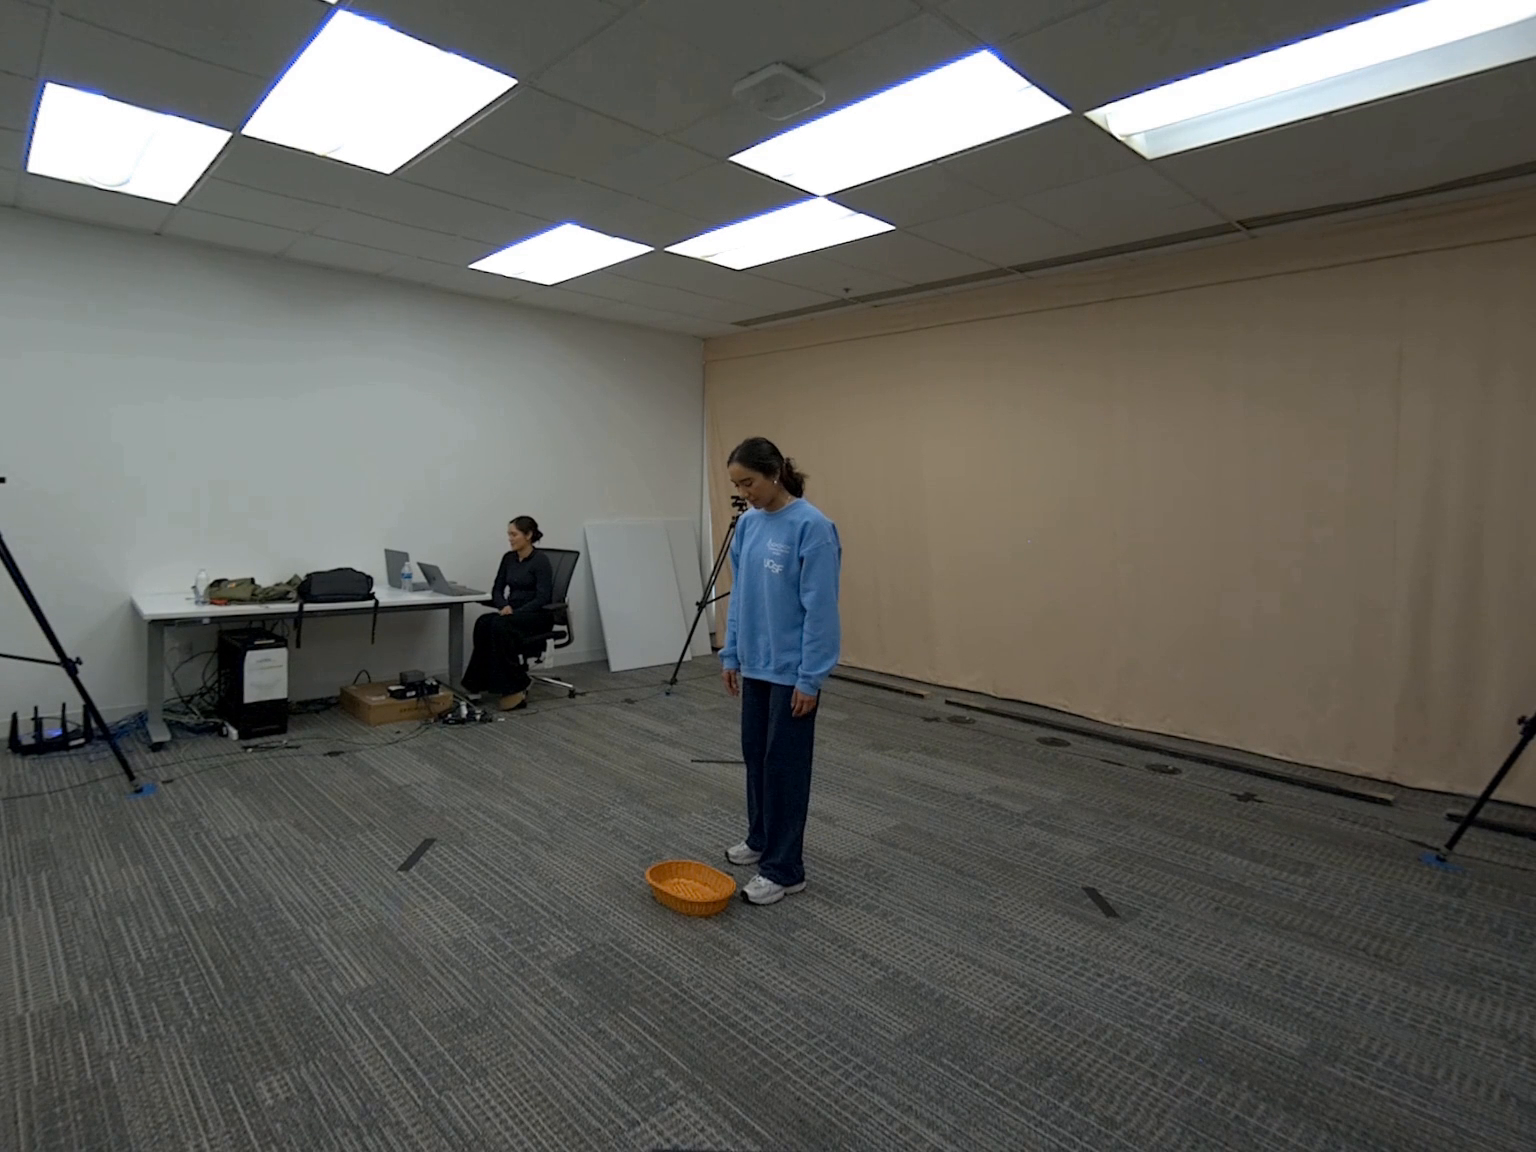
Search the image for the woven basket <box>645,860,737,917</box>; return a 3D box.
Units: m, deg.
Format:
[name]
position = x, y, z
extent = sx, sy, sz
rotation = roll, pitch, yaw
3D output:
[woven basket]
position = -0.274, 1.078, 2.910
extent = 0.246, 0.073, 0.359
rotation = -2, 6, -43
